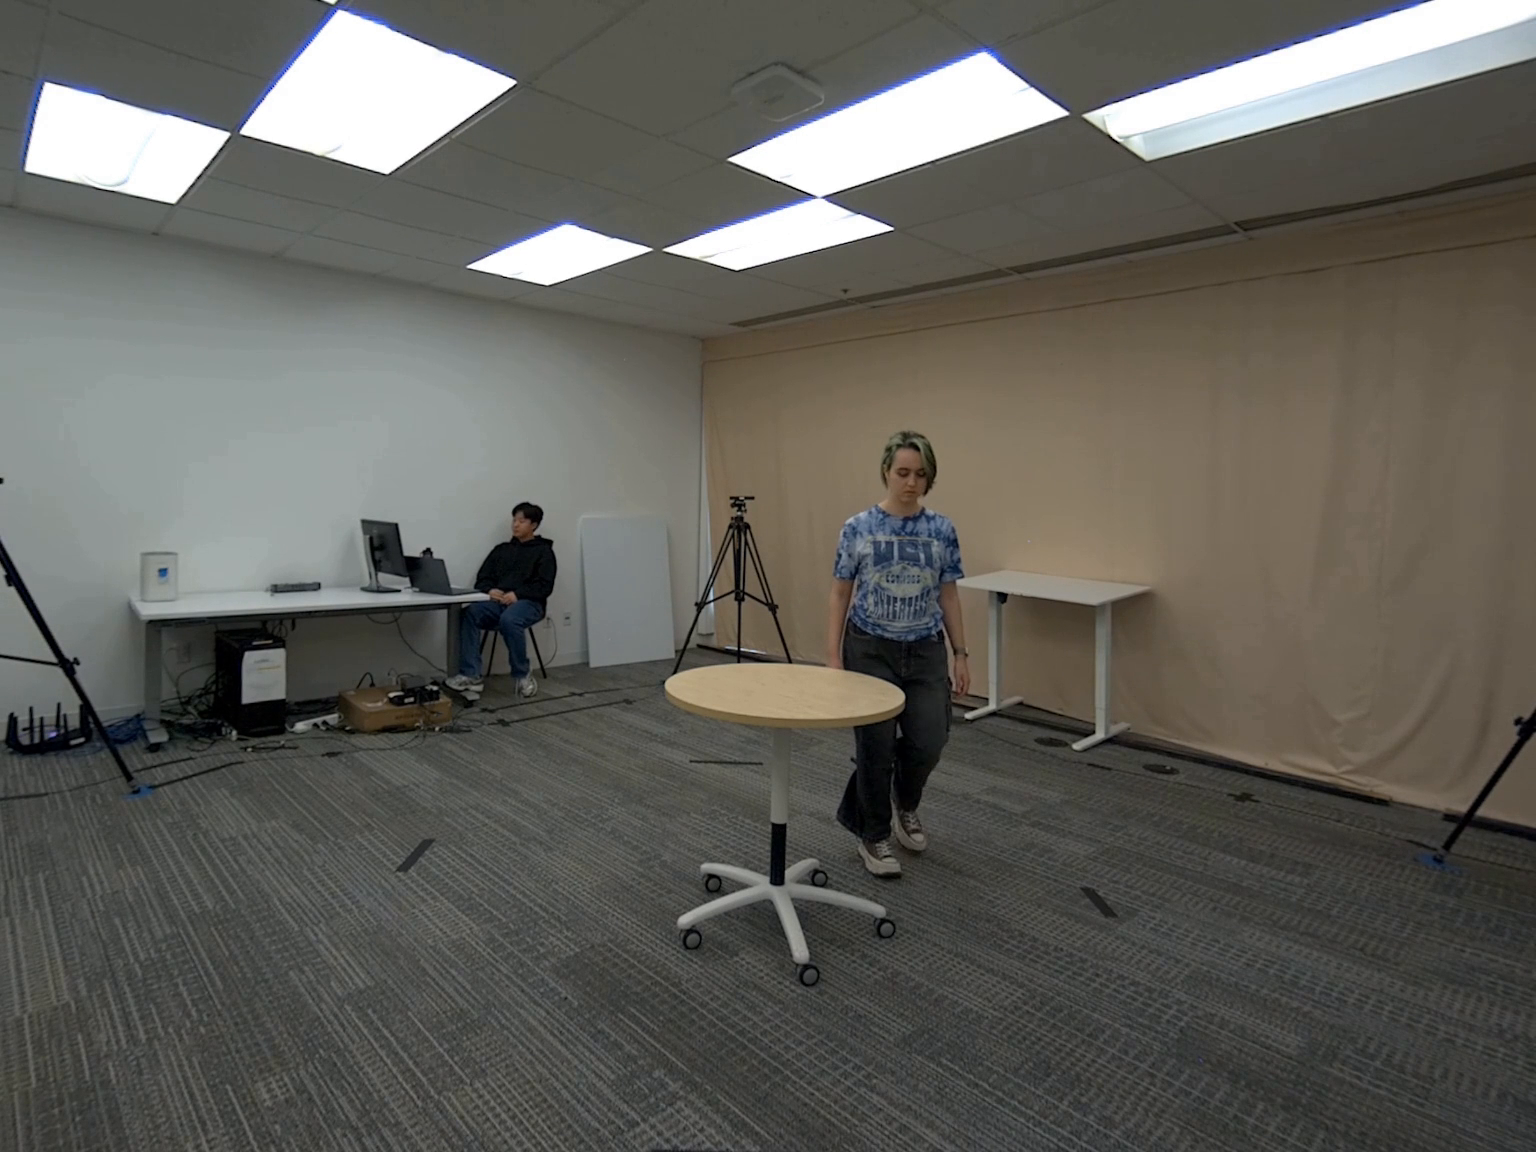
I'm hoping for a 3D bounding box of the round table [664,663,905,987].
[{"bbox_3d":[0.030,0.753,2.730,0.763,0.792,0.767,2,4,-1],"label":"round table"}]
